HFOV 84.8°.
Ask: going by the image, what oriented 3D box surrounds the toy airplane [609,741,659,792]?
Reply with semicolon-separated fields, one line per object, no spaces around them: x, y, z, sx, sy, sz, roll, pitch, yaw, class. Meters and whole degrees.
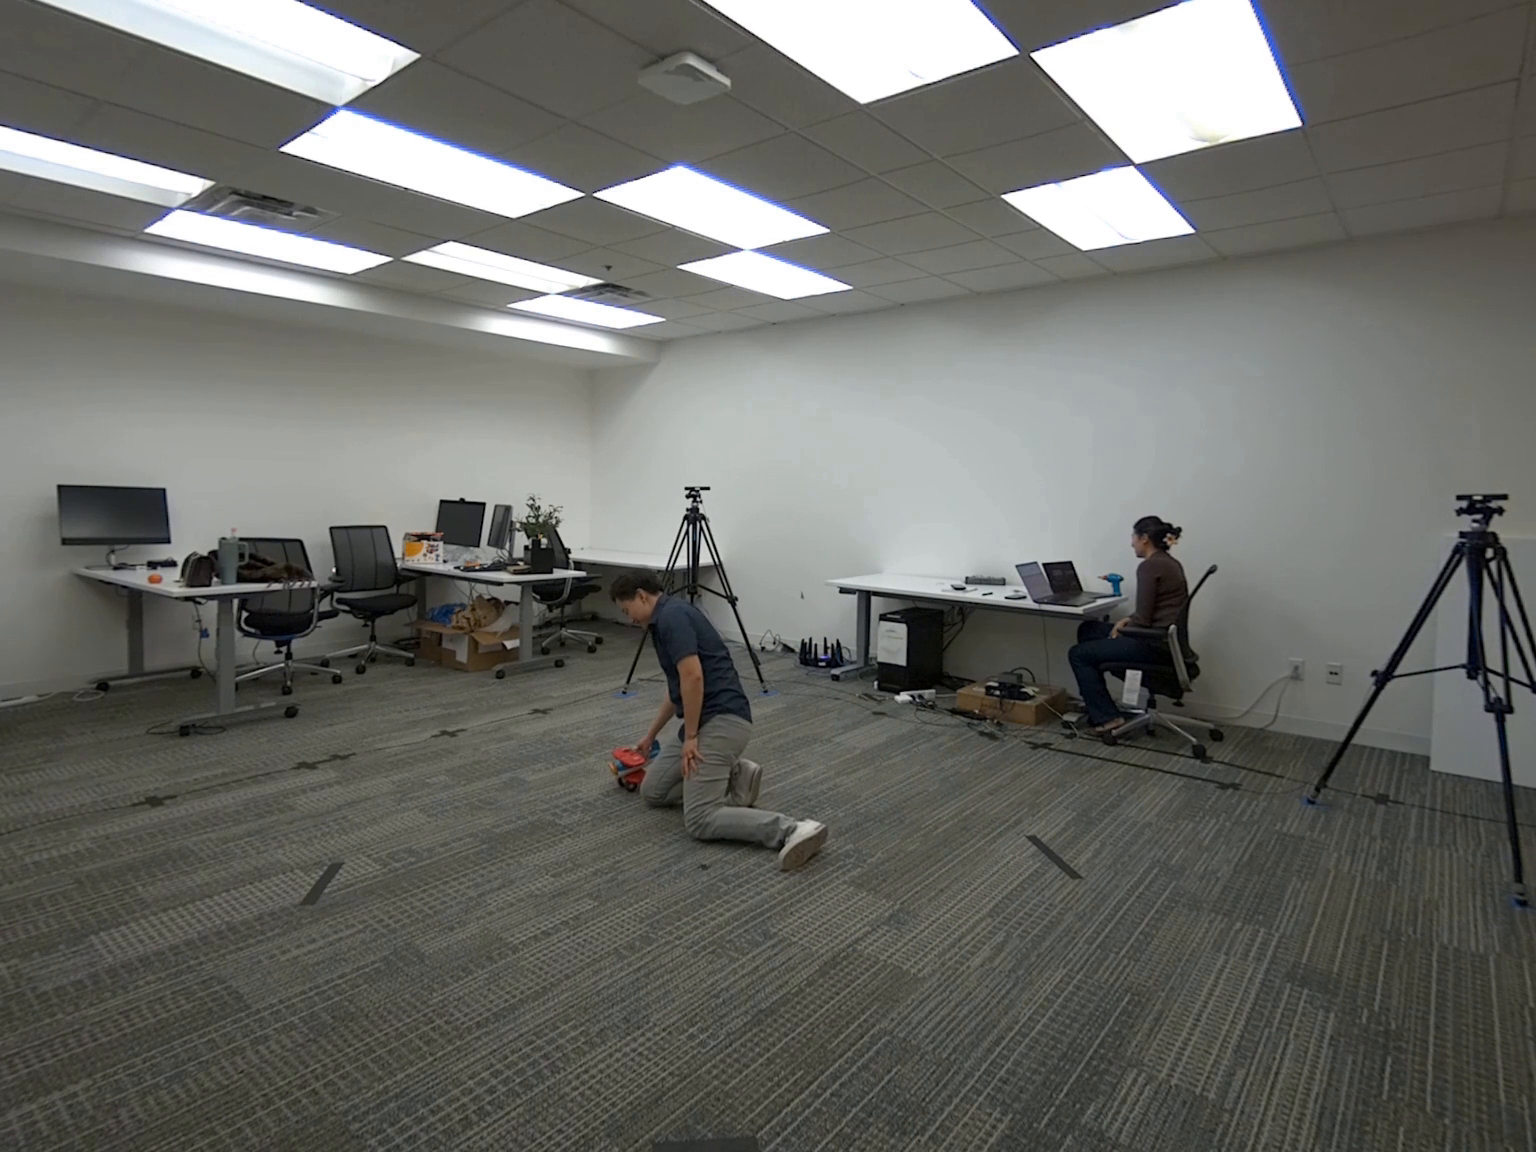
-0.633;0.875;3.970;0.257;0.153;0.259;-12;20;31;toy airplane
